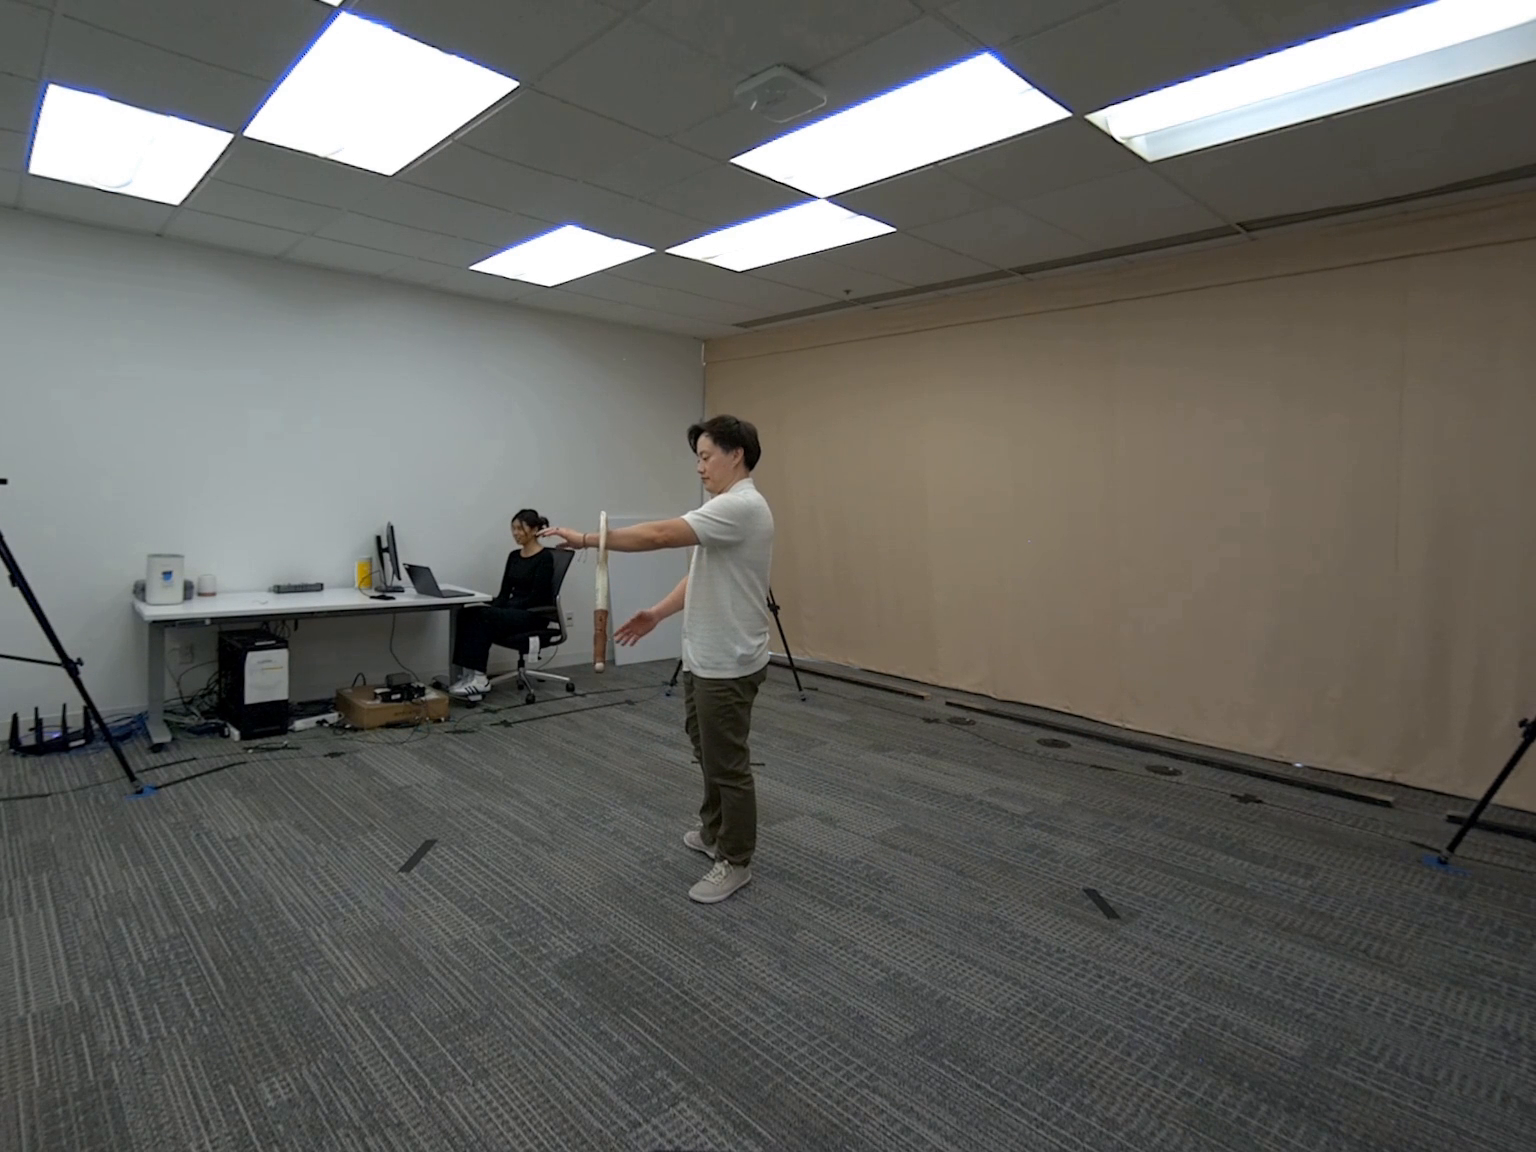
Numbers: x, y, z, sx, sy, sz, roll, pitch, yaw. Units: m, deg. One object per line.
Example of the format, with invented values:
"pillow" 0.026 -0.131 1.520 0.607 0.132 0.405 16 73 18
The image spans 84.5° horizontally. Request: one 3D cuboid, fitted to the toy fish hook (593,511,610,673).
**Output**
"toy fish hook" -0.535 0.051 2.667 0.048 0.513 0.223 -1 -16 -6
